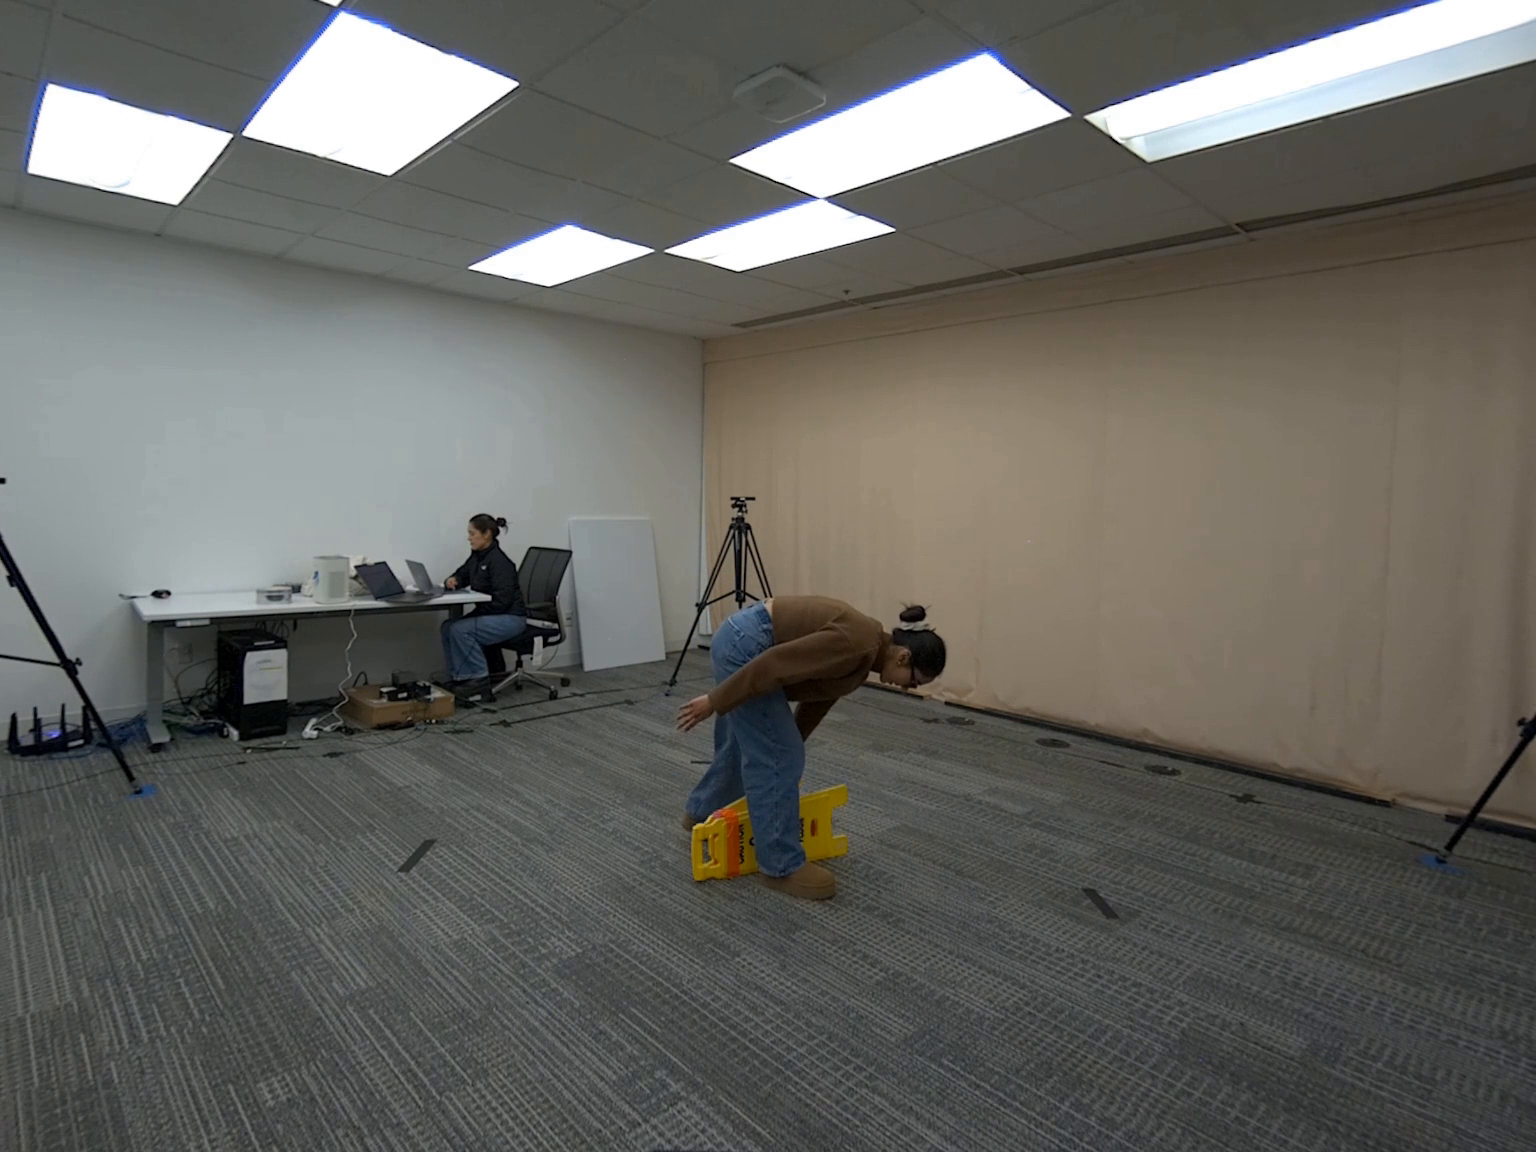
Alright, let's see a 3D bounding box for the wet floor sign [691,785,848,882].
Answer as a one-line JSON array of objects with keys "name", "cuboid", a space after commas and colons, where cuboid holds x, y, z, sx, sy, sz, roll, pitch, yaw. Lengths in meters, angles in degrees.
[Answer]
[{"name": "wet floor sign", "cuboid": [-0.022, 0.973, 3.222, 0.632, 0.281, 0.297, -6, 7, -39]}]
